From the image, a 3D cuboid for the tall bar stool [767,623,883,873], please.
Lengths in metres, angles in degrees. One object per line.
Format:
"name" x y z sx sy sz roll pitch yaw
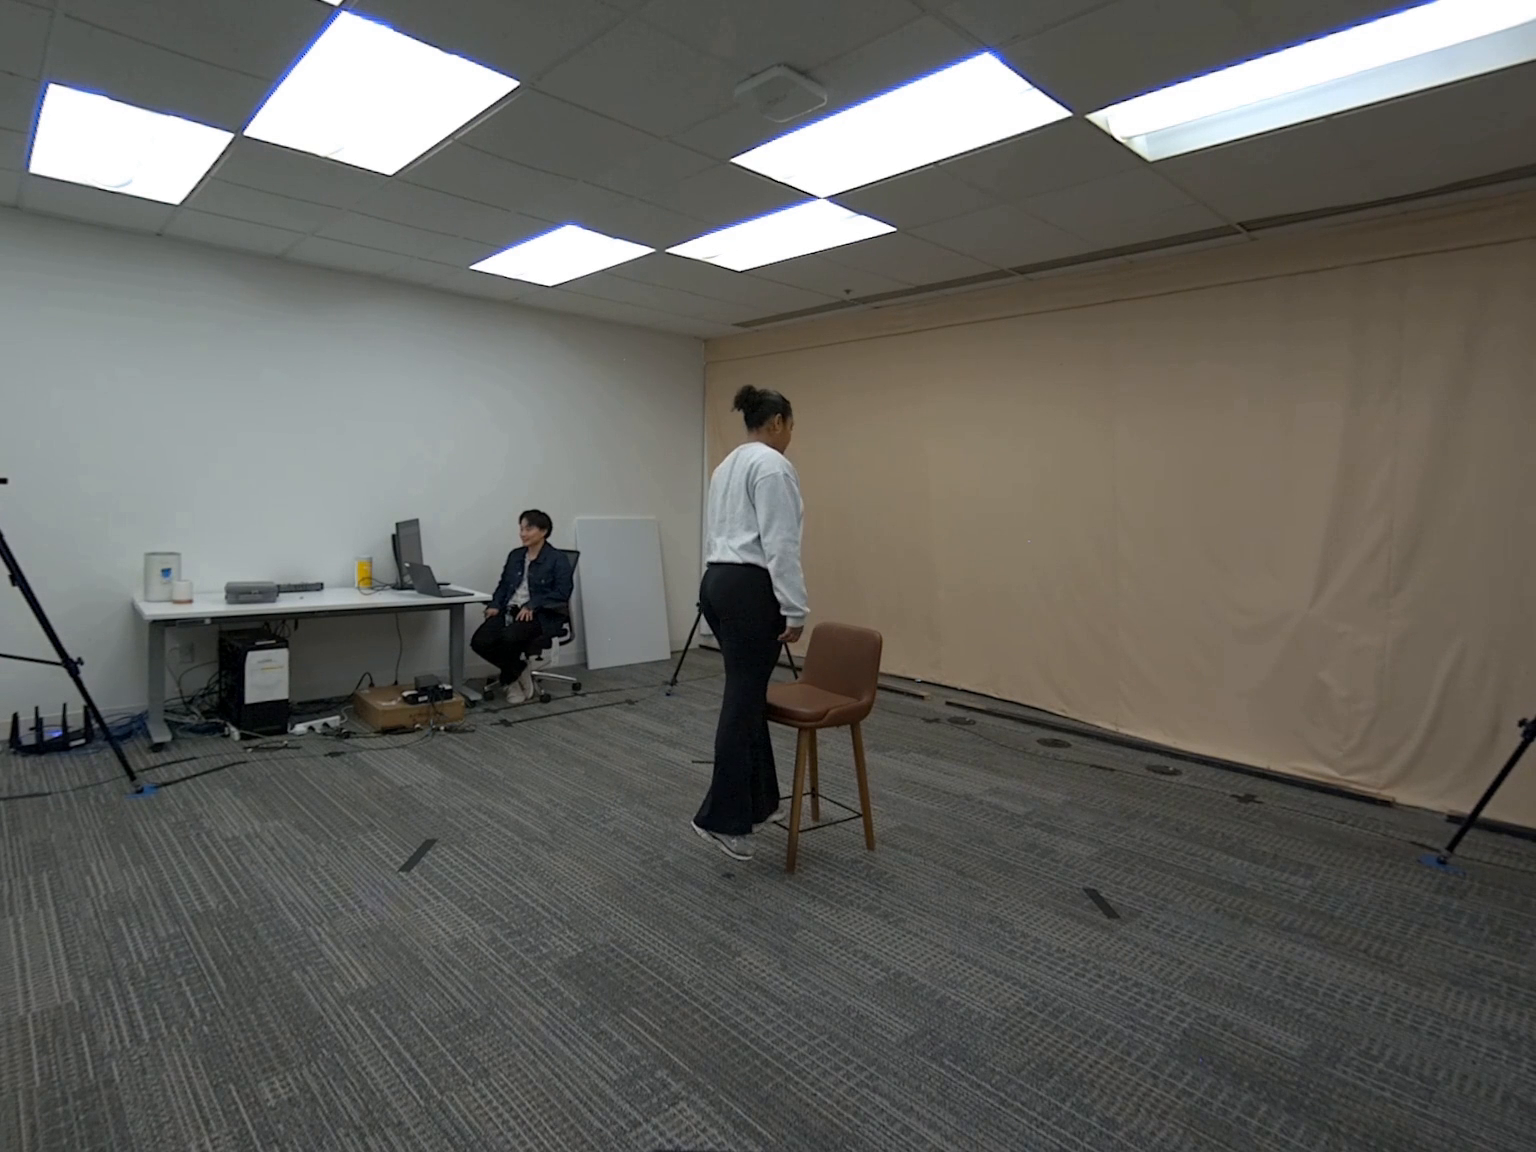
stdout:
"tall bar stool" 0.152 0.651 3.395 0.457 0.889 0.467 1 2 -35
